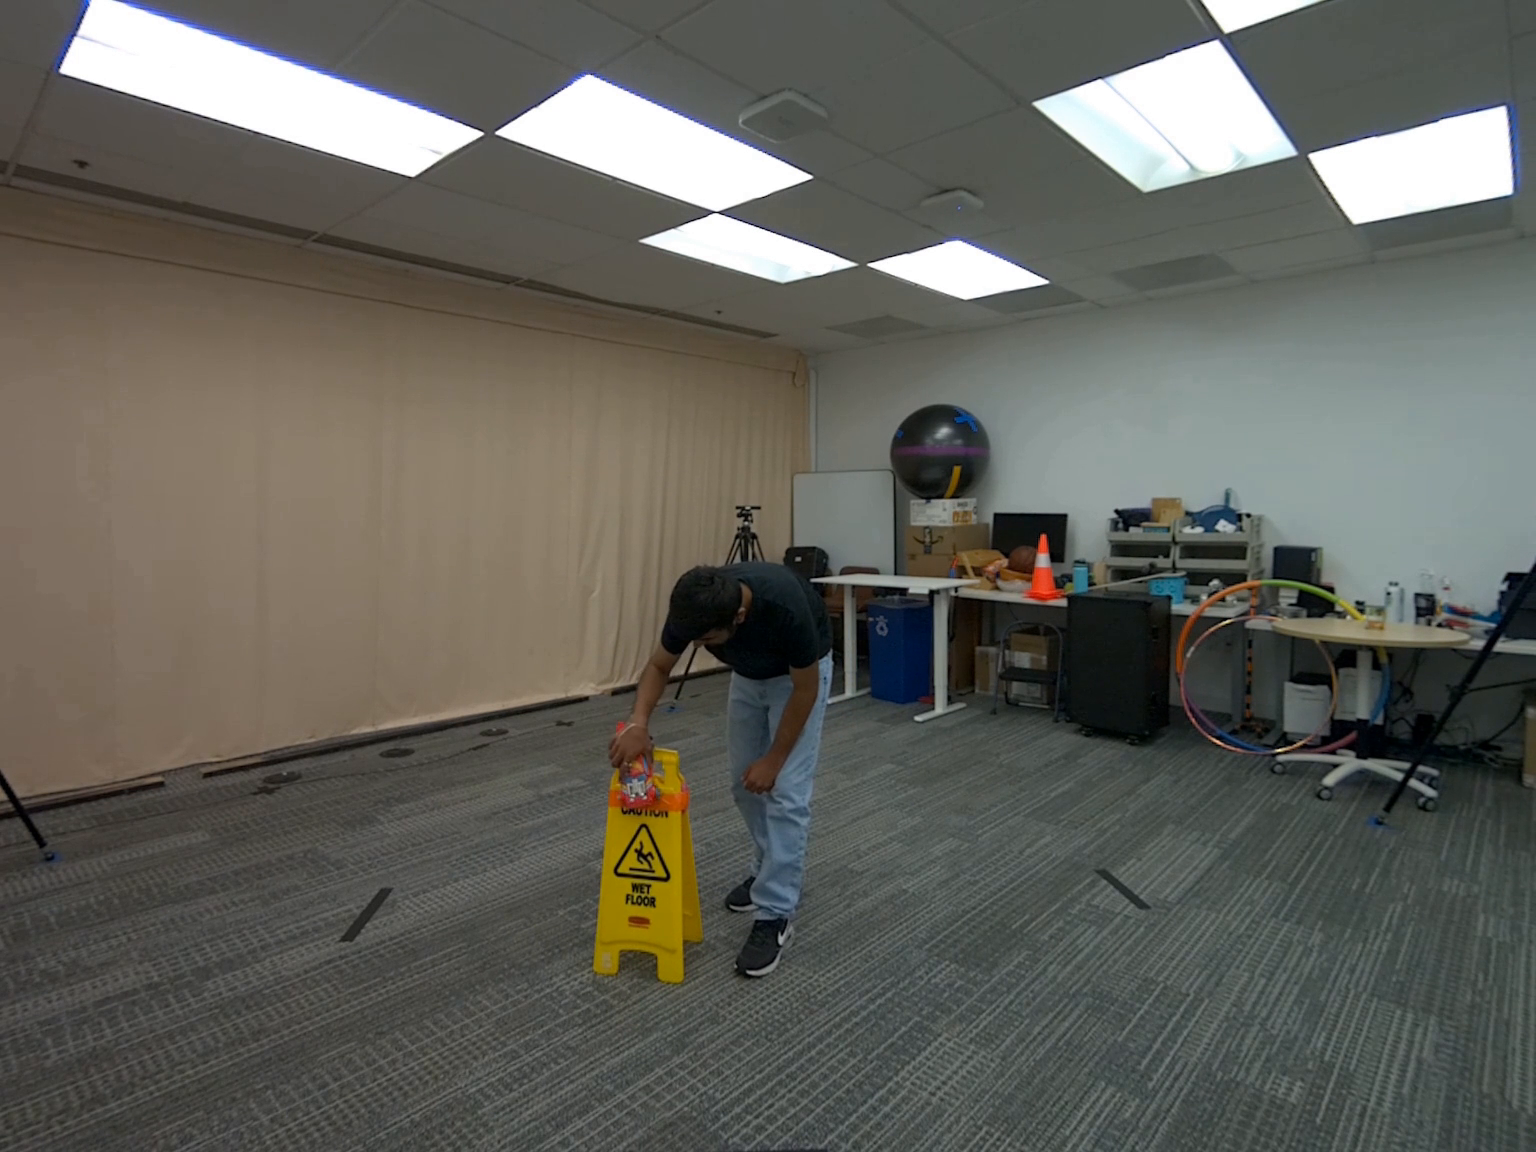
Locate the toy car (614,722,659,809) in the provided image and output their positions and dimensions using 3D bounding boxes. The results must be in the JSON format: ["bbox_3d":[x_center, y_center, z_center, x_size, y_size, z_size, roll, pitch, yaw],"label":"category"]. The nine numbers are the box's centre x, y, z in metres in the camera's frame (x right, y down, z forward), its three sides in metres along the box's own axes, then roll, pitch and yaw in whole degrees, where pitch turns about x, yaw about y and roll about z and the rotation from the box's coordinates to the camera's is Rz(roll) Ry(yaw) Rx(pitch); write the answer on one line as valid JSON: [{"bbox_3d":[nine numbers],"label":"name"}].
[{"bbox_3d":[-0.394,0.574,2.543,0.131,0.256,0.082,-10,-6,6],"label":"toy car"}]
